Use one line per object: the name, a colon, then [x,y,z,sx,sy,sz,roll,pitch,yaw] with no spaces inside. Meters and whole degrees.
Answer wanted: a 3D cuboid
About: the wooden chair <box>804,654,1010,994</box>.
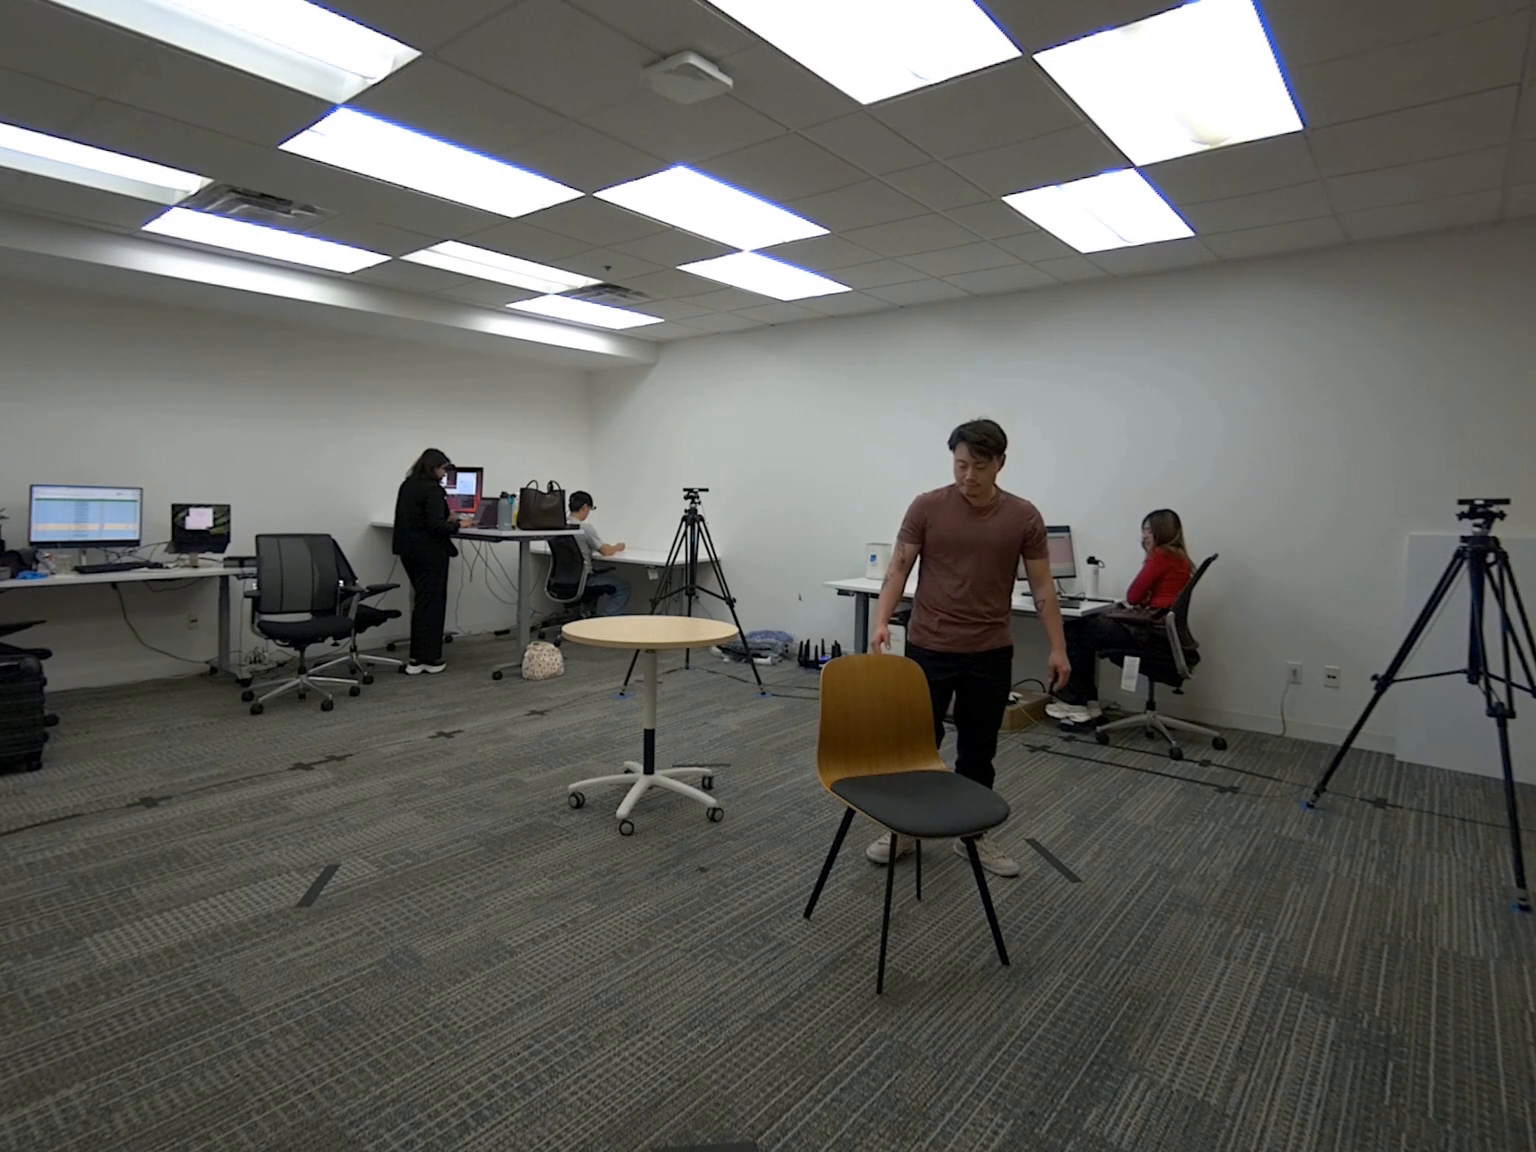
wooden chair: [0.419,0.705,2.607,0.467,0.878,0.535,0,0,-24]
